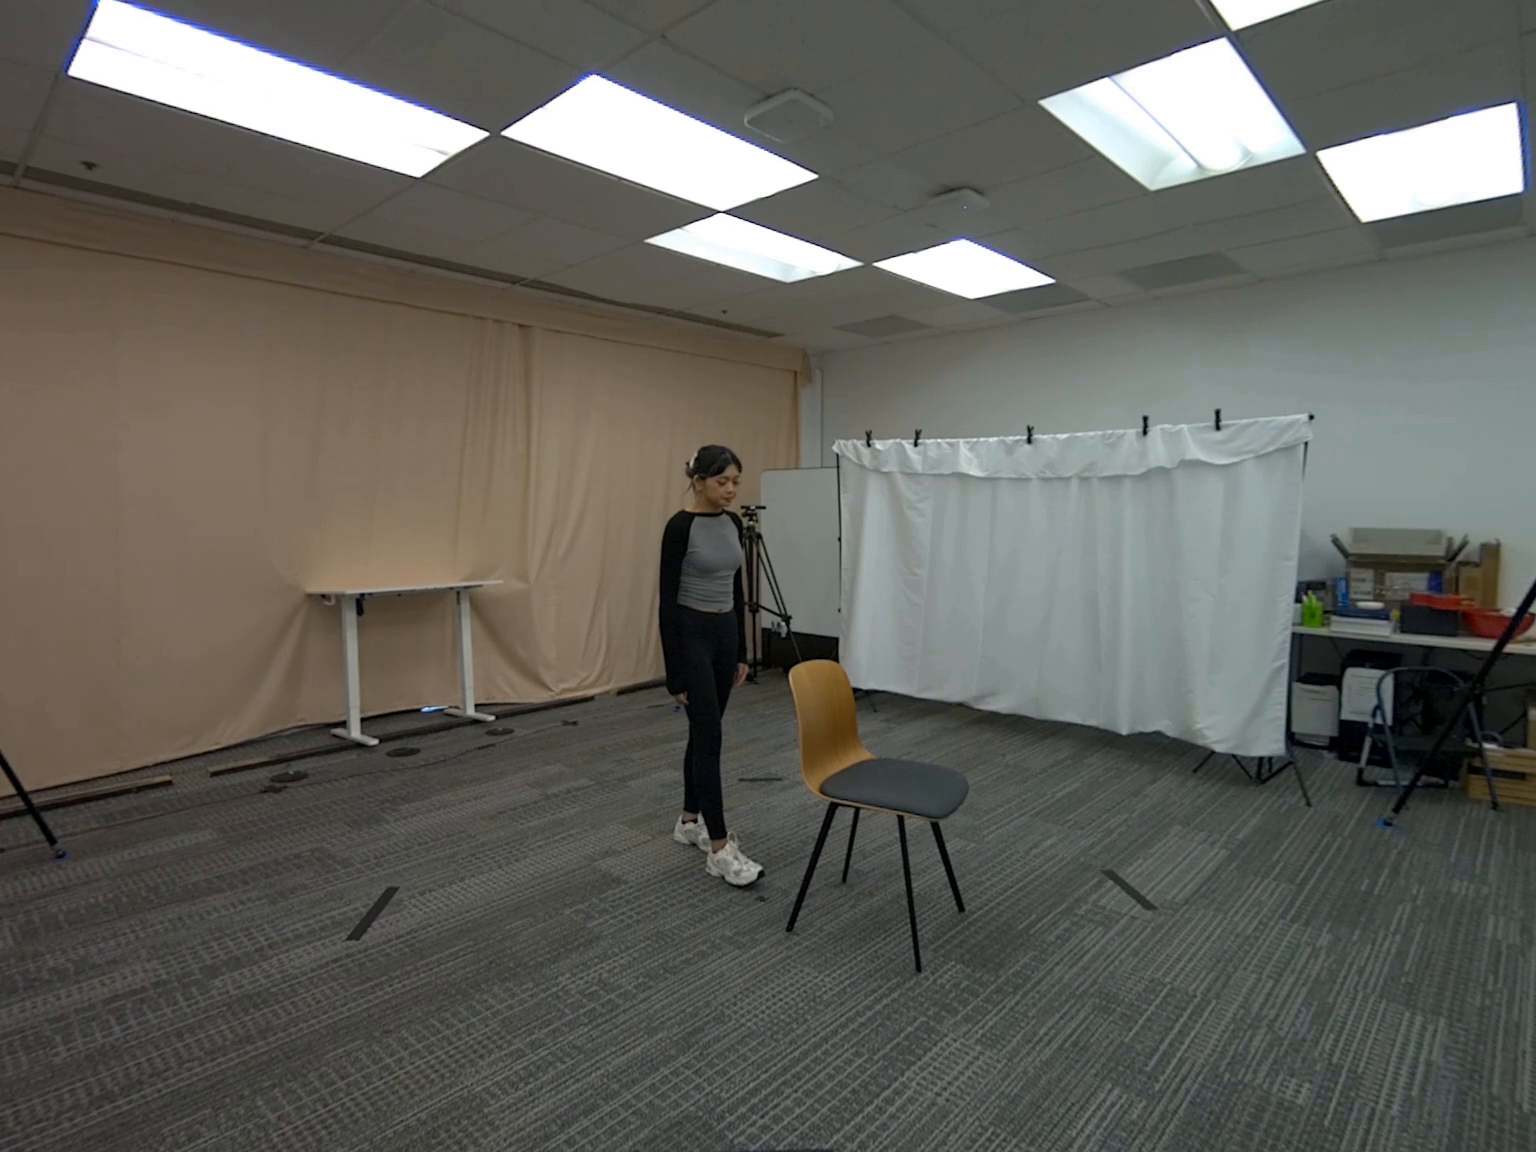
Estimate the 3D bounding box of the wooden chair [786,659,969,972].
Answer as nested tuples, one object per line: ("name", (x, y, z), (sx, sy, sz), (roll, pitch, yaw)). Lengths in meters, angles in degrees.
("wooden chair", (0.378, 0.730, 2.785), (0.538, 0.877, 0.465), (-3, 1, 32))
